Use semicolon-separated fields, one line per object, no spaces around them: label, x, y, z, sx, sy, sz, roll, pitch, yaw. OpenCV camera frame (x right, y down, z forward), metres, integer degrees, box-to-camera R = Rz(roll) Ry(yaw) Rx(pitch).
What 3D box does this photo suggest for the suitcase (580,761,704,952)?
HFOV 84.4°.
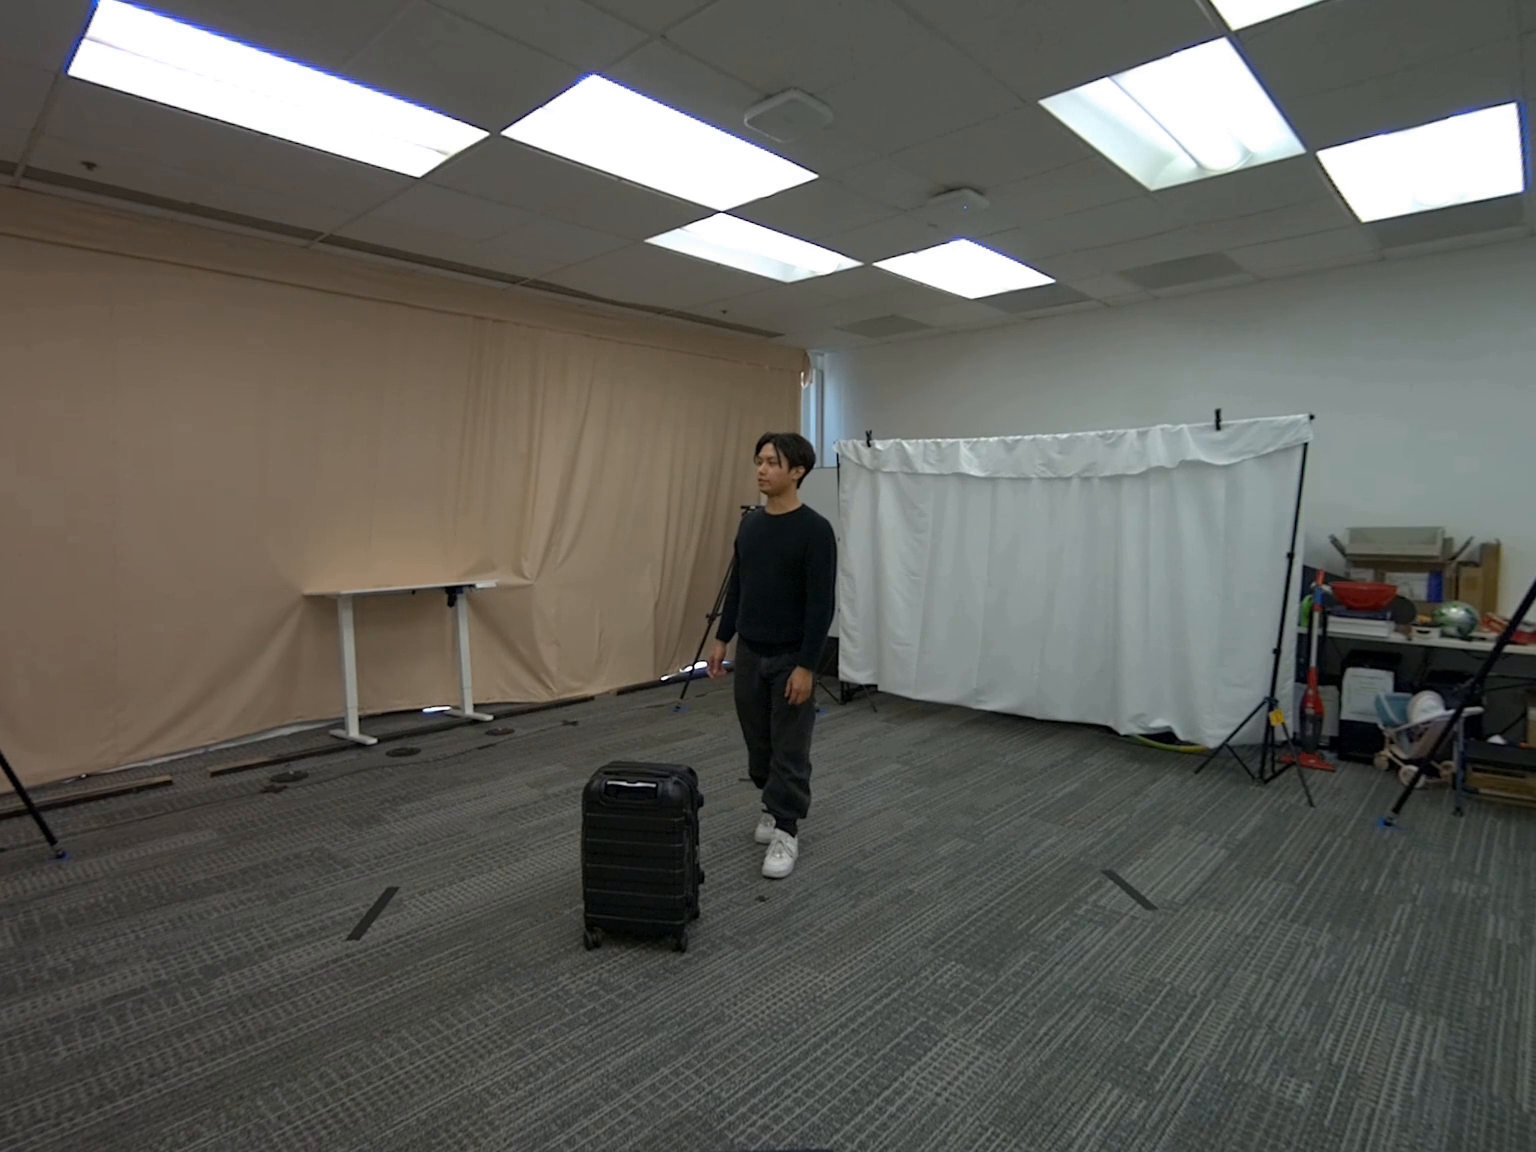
suitcase;-0.411;0.890;2.742;0.380;0.548;0.246;0;2;11
